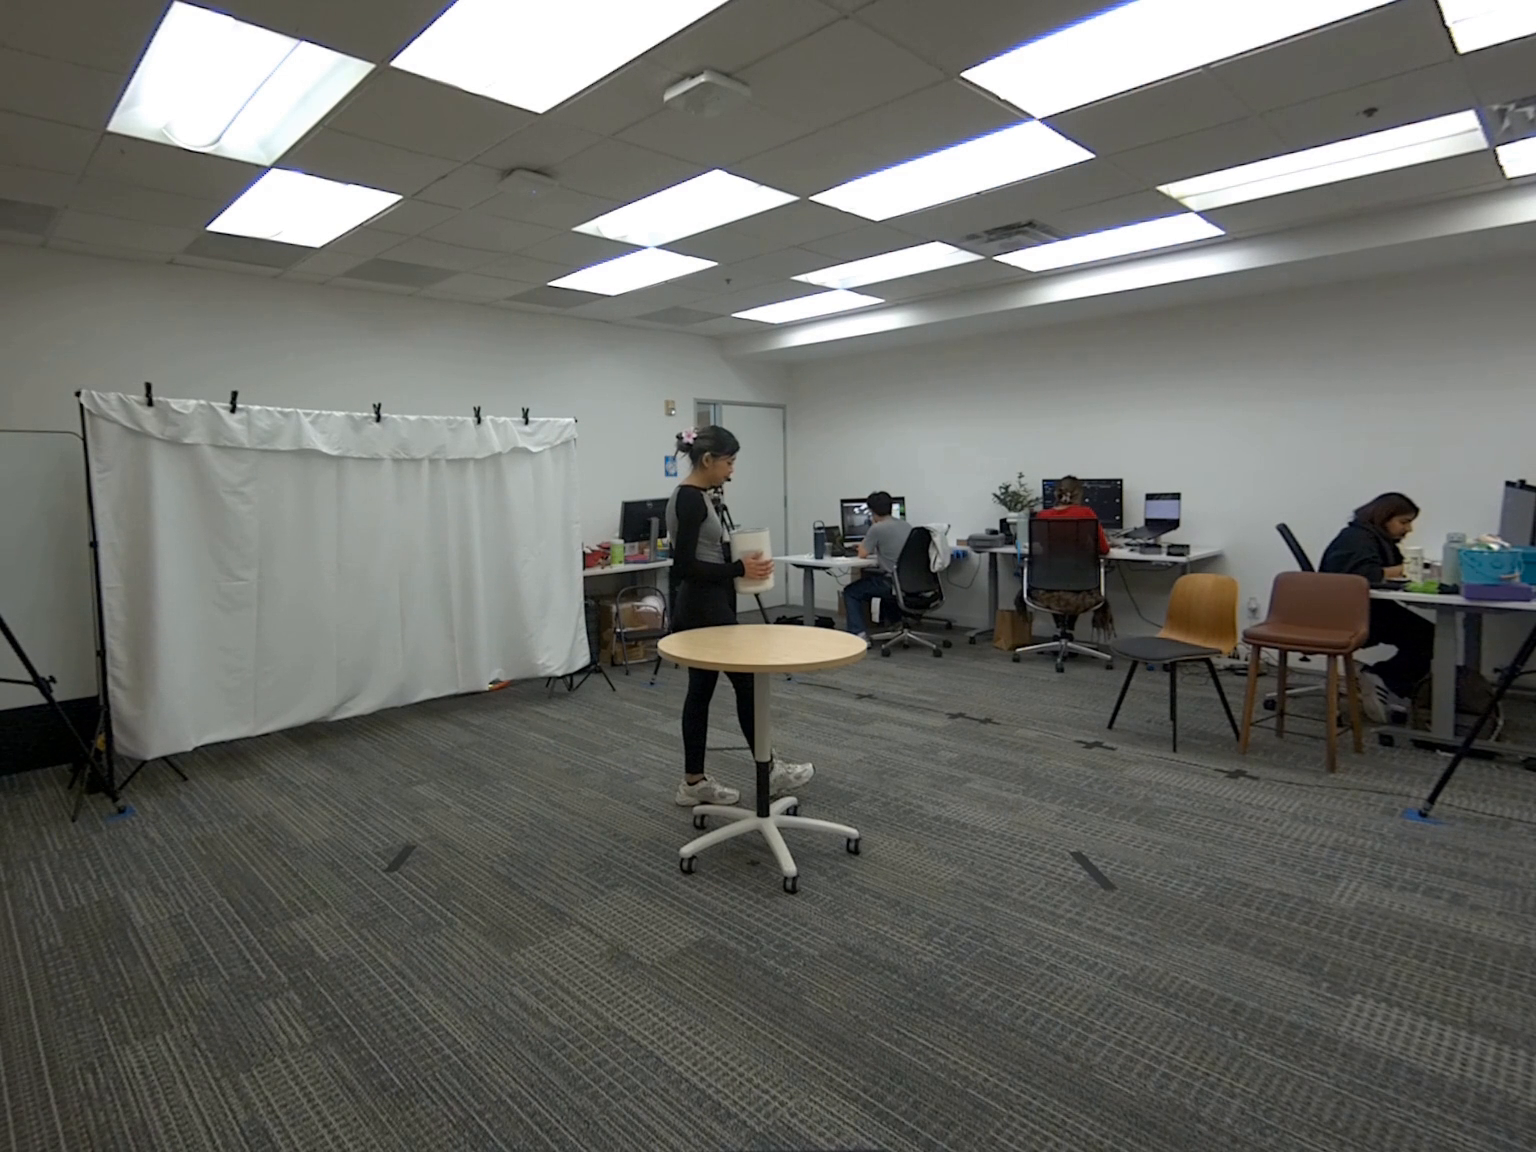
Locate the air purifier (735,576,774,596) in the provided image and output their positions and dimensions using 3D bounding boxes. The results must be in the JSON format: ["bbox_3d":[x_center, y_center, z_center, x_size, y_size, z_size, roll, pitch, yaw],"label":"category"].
[{"bbox_3d":[-0.066,-0.062,3.631,0.172,0.264,0.171,-8,6,9],"label":"air purifier"}]
